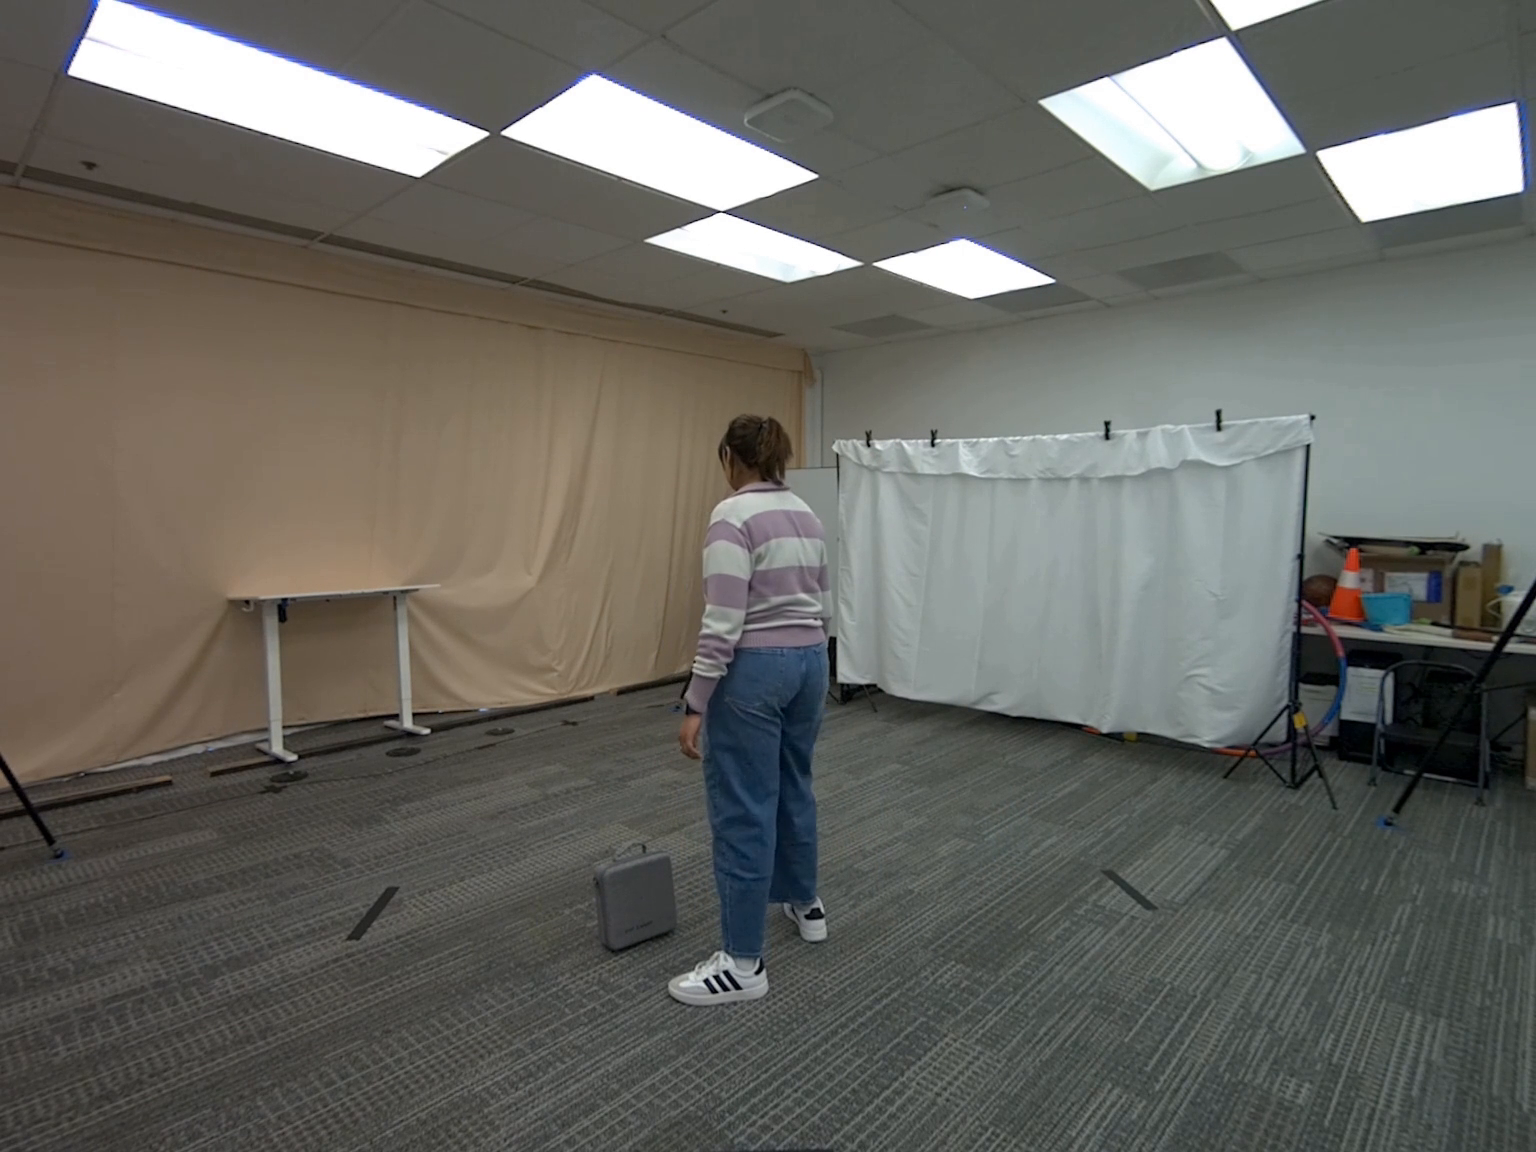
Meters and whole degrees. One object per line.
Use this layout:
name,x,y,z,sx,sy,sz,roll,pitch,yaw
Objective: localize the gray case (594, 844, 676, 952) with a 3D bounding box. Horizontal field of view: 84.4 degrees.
gray case,-0.432,1.039,2.721,0.249,0.261,0.107,-3,-4,-36
